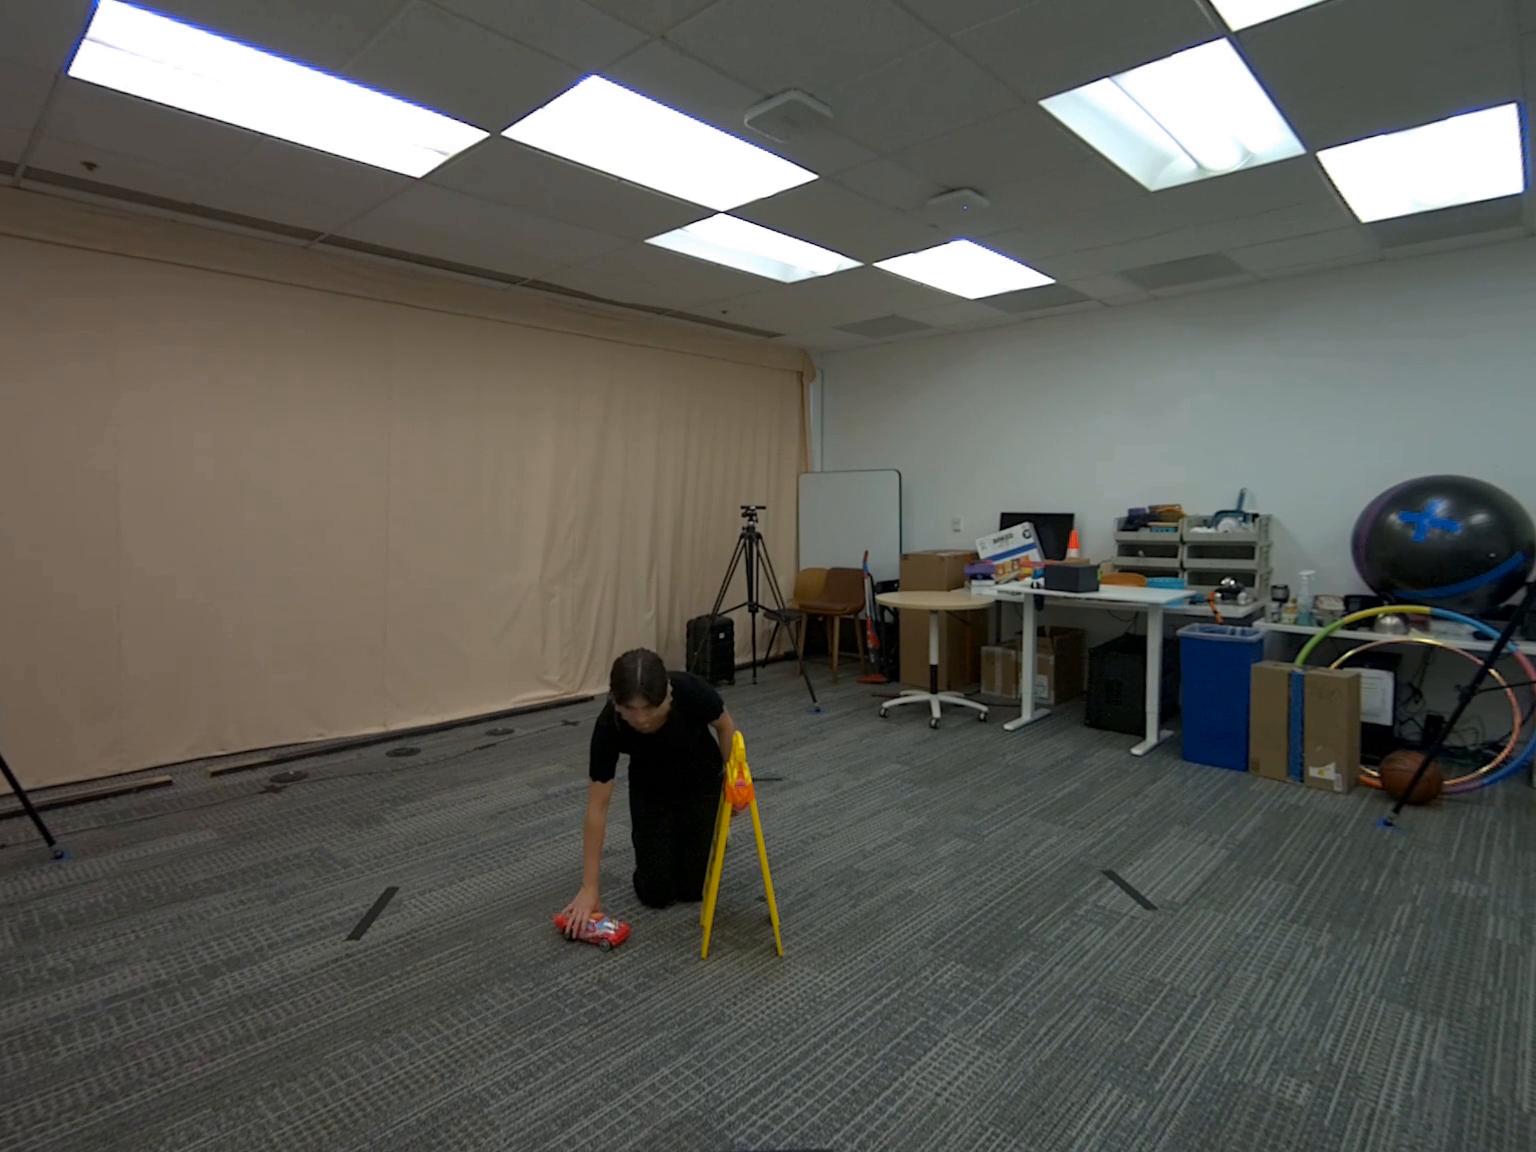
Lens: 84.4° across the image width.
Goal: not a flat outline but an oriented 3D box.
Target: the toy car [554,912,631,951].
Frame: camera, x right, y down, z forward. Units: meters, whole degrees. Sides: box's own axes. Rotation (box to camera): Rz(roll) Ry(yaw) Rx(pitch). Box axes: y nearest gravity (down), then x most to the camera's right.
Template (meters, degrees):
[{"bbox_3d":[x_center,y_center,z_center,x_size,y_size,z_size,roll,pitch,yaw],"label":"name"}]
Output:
[{"bbox_3d":[-0.575,1.140,2.731,0.262,0.083,0.127,12,9,25],"label":"toy car"}]
